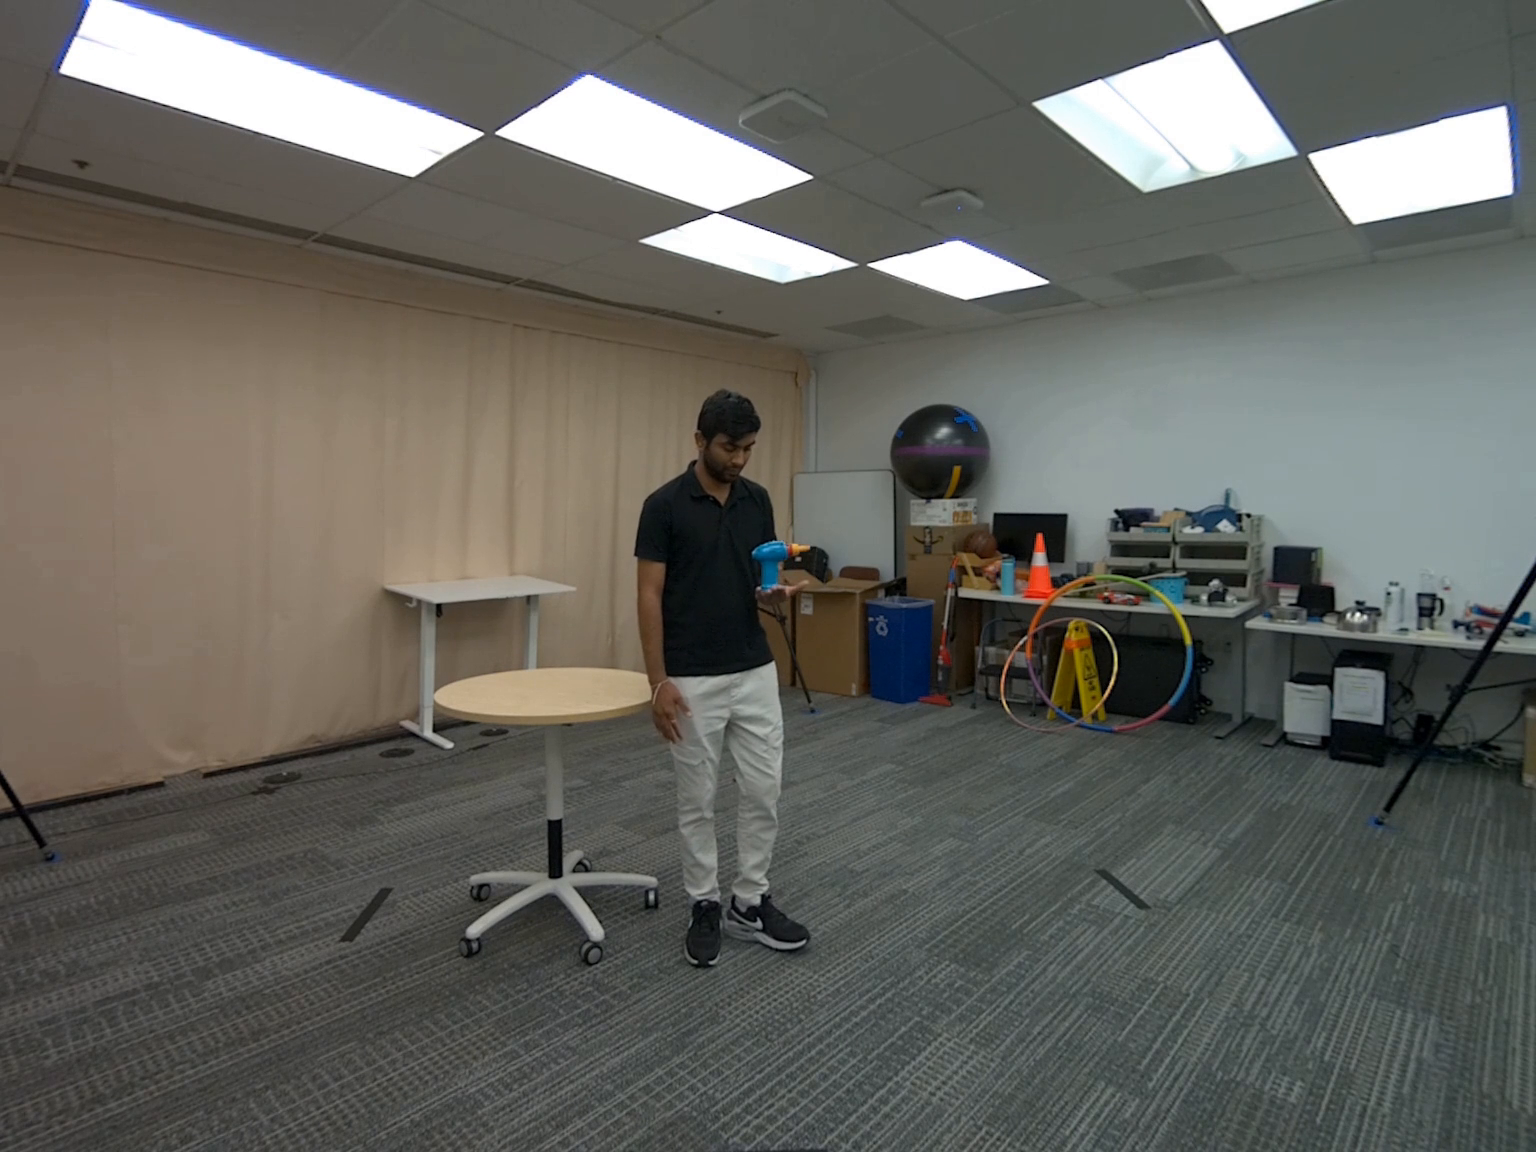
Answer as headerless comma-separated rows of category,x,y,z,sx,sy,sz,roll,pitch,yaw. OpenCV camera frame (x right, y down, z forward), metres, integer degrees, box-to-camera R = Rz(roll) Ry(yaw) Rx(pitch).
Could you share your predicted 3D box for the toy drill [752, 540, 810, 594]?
toy drill,0.044,-0.033,2.414,0.168,0.145,0.062,-9,4,-11
